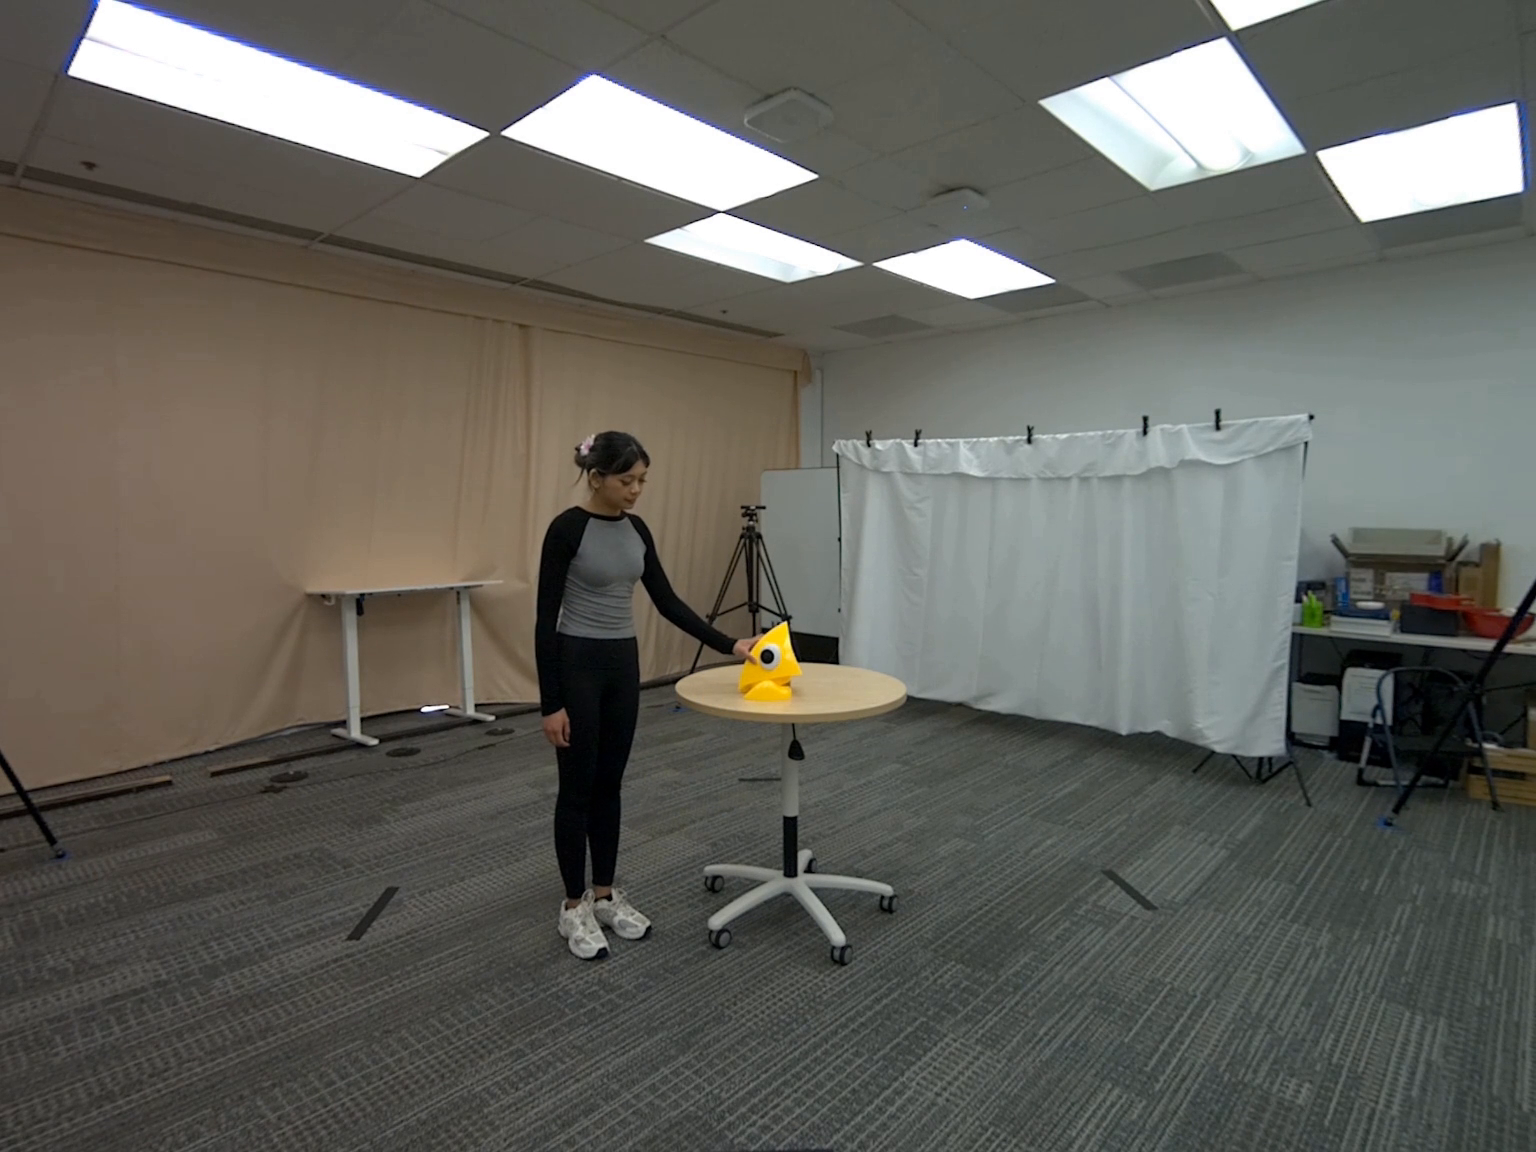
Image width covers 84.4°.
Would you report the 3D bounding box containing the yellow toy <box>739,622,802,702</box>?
[{"bbox_3d":[0.003,0.264,2.681,0.191,0.230,0.207,2,3,-8],"label":"yellow toy"}]
